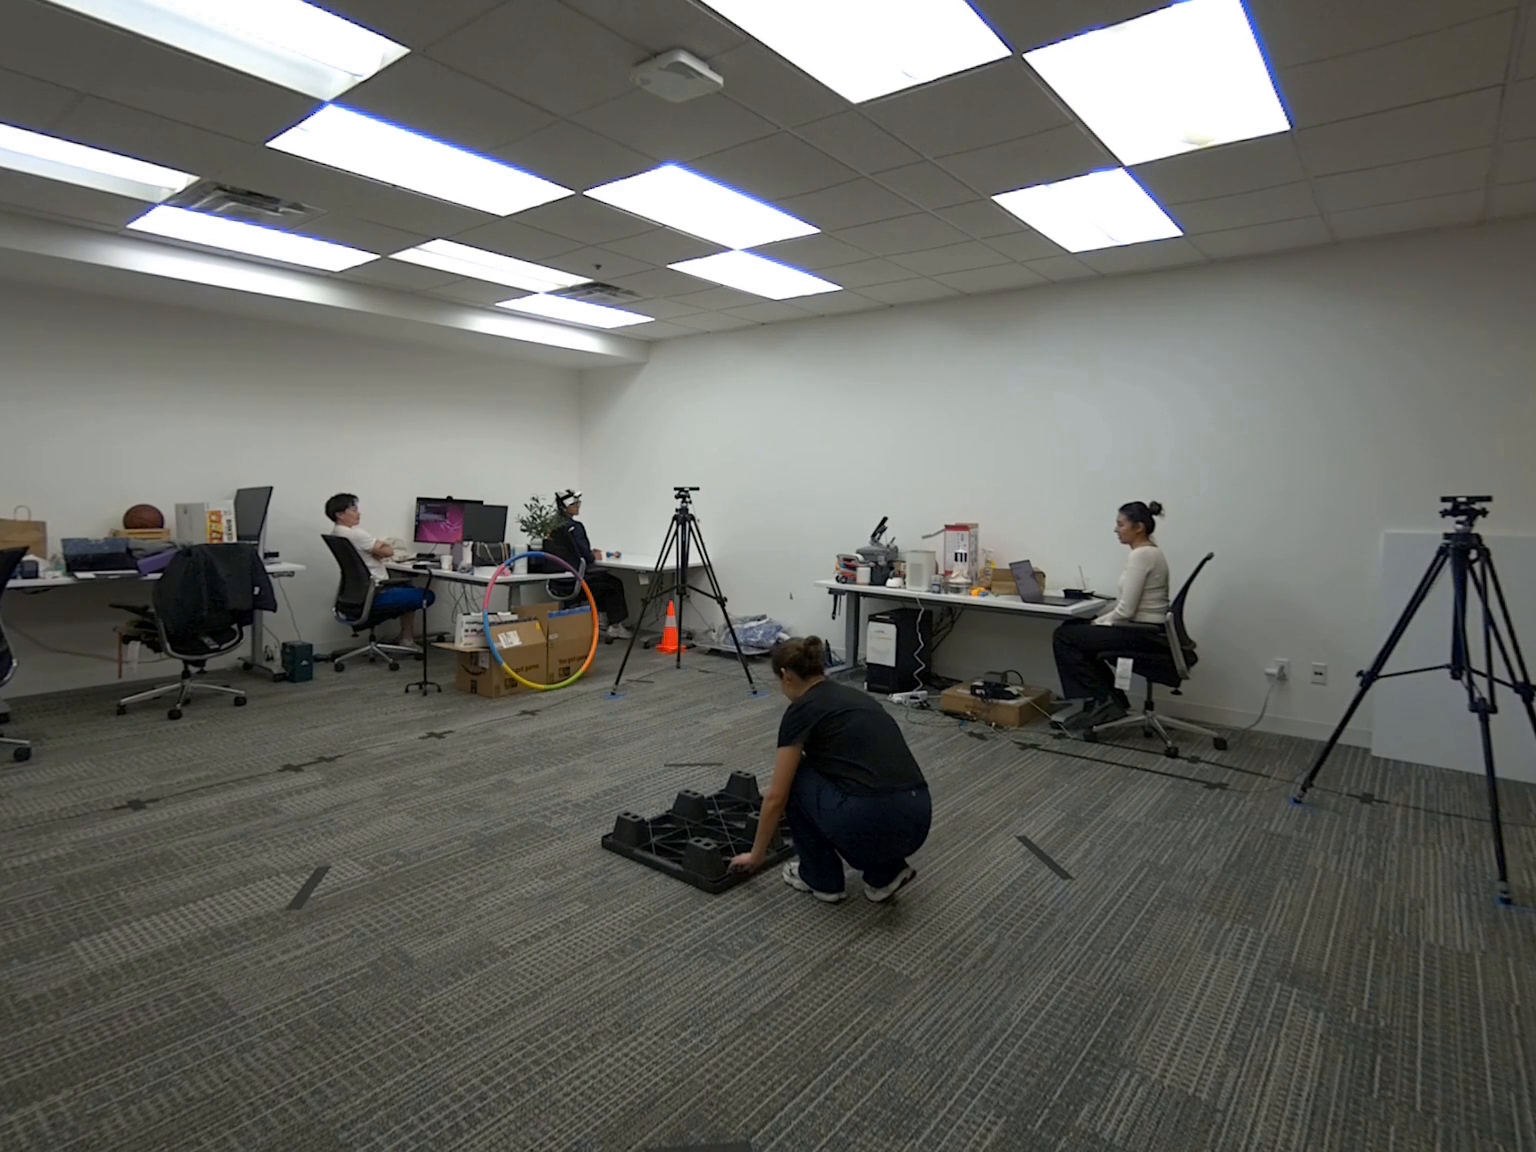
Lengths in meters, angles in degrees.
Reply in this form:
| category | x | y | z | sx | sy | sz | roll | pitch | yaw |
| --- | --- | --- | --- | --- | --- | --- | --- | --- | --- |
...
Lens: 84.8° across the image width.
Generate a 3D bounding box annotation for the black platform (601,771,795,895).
| category | x | y | z | sx | sy | sz | roll | pitch | yaw |
| --- | --- | --- | --- | --- | --- | --- | --- | --- | --- |
| black platform | -0.158 | 0.973 | 3.404 | 0.626 | 0.143 | 0.782 | 6 | 7 | 39 |
